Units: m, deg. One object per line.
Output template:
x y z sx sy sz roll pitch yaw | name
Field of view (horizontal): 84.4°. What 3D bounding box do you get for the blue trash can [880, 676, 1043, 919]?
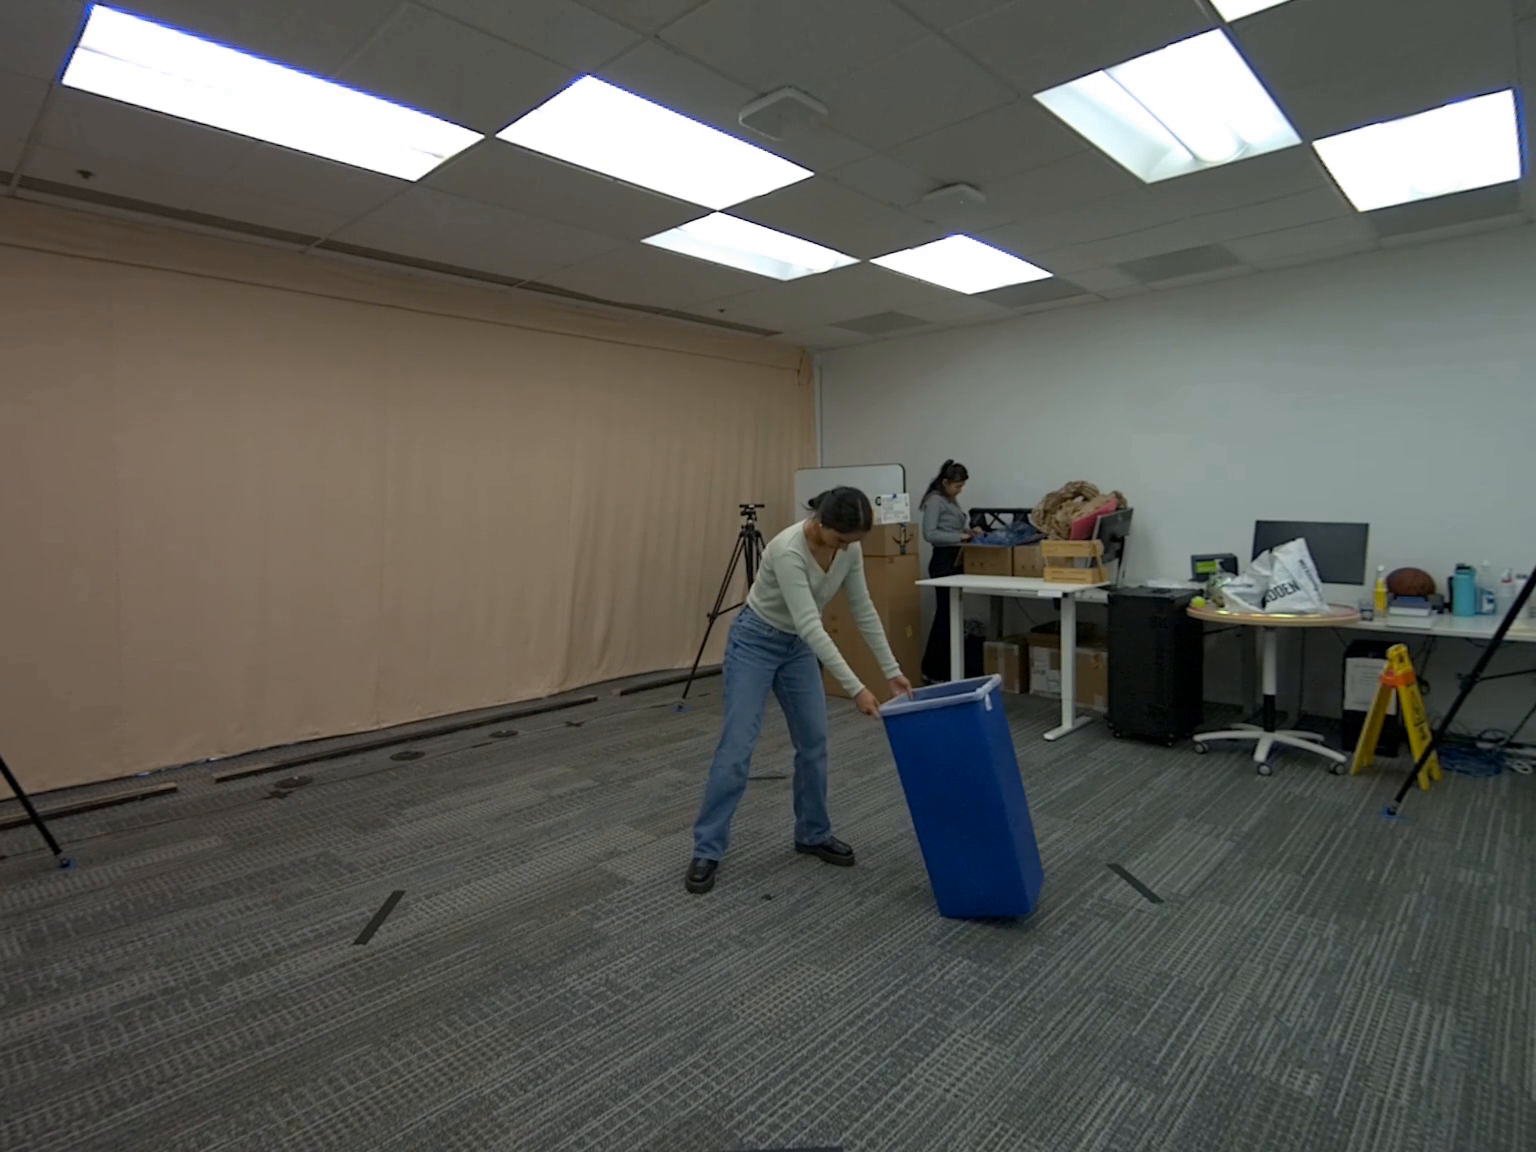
0.664 0.750 2.904 0.382 0.716 0.368 -16 -5 27 | blue trash can
